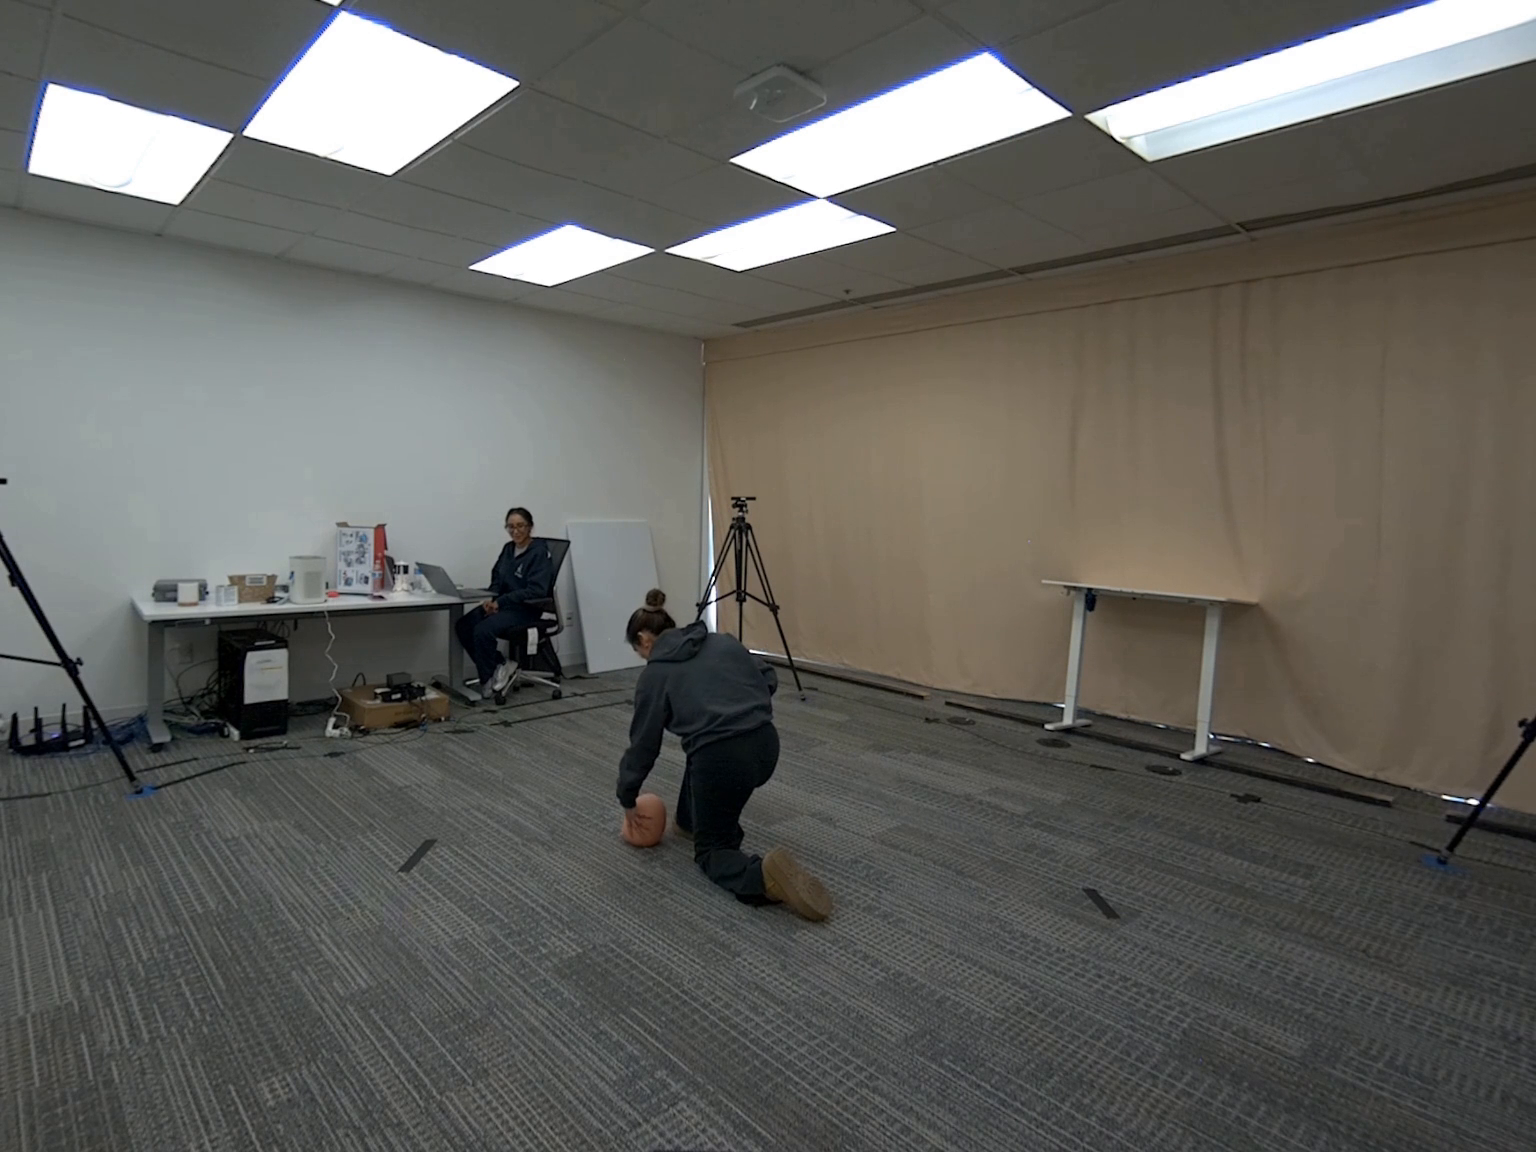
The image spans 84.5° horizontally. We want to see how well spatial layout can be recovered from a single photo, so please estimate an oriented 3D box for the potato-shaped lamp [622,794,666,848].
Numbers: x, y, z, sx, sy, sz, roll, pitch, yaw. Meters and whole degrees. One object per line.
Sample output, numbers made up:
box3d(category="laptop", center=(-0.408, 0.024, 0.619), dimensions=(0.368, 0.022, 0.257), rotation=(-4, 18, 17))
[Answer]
box3d(category="potato-shaped lamp", center=(-0.505, 0.971, 3.381), dimensions=(0.176, 0.197, 0.161), rotation=(19, 11, 39))
